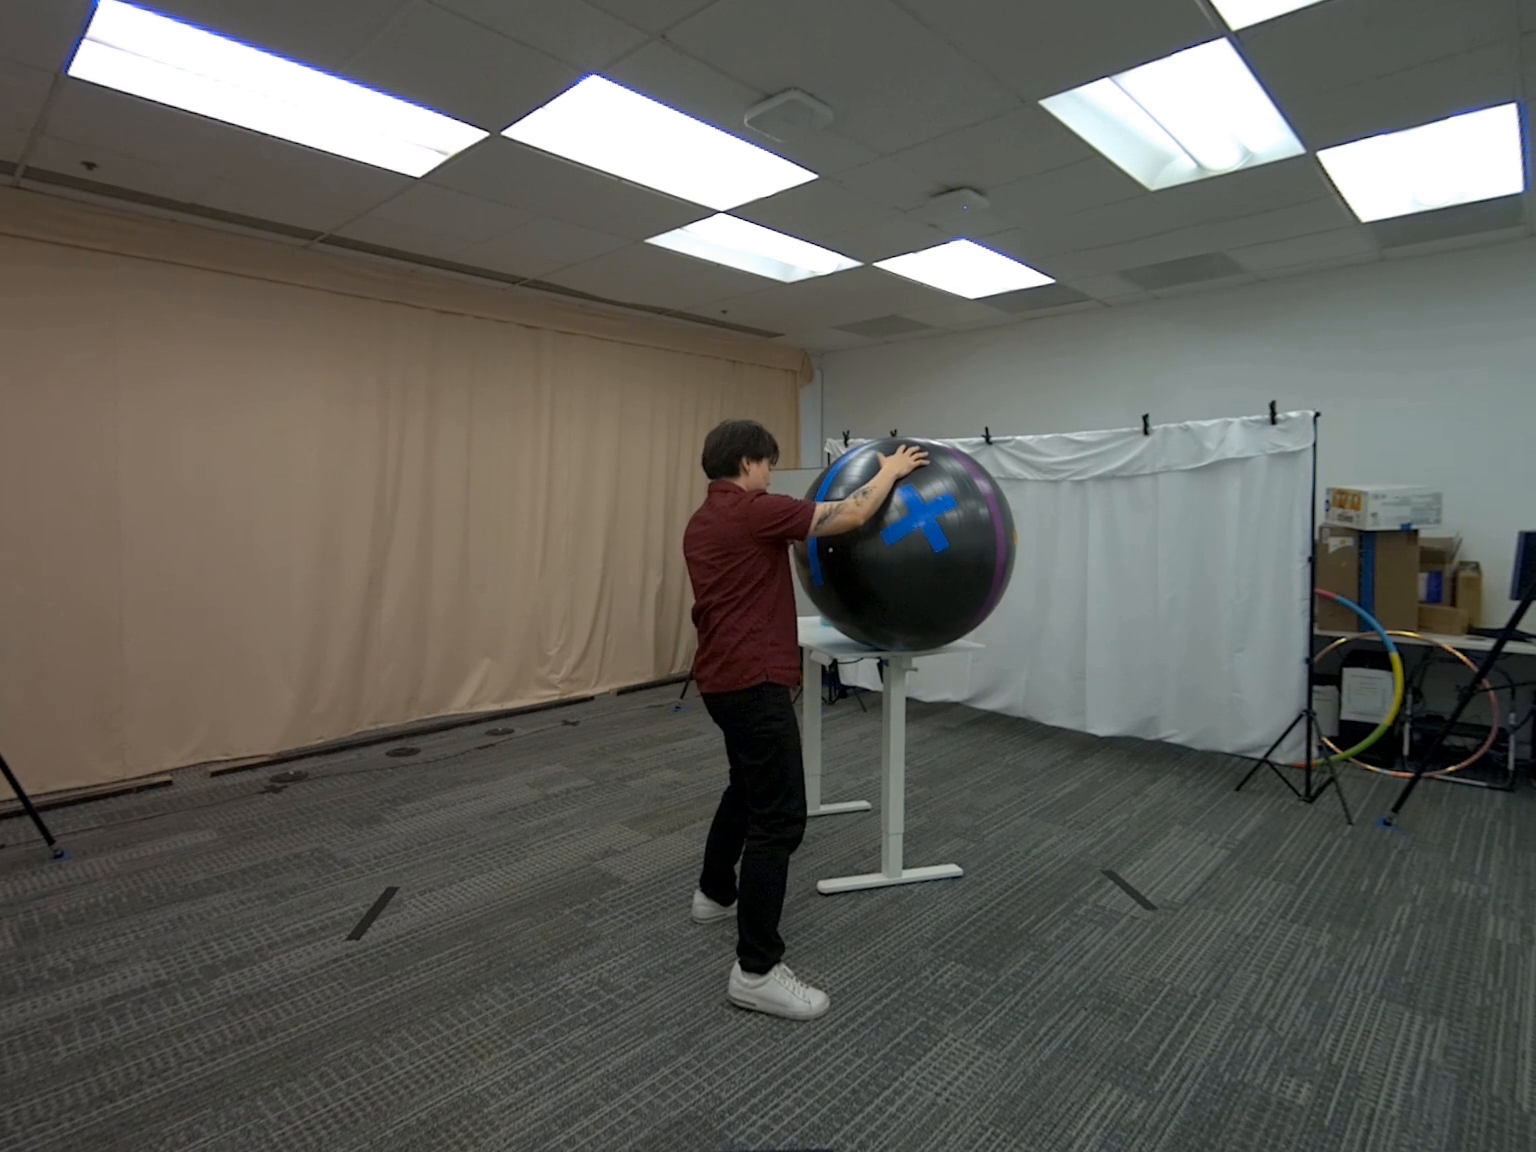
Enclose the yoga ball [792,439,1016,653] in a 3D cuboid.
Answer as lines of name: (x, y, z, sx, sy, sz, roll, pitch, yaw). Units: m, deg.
yoga ball: (0.481, -0.104, 2.967, 0.757, 0.756, 0.760, 0, 4, -2)
